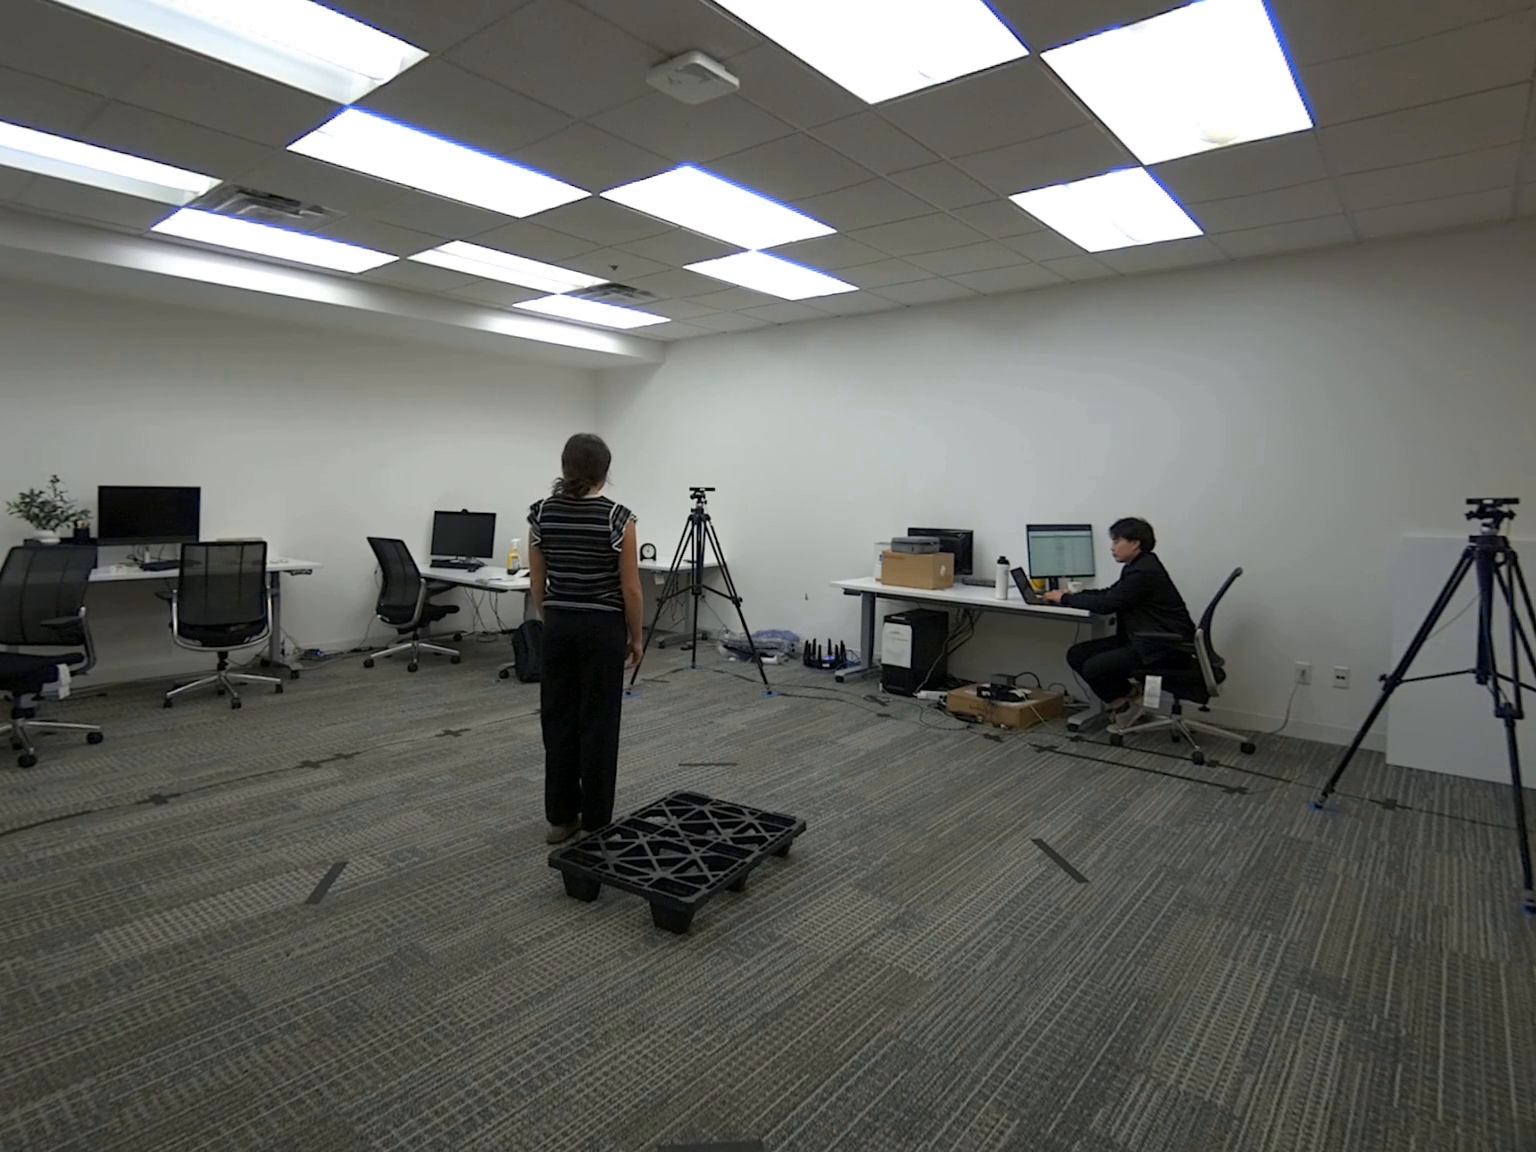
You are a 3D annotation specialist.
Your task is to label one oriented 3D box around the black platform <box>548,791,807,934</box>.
[{"bbox_3d":[-0.315,1.001,3.063,0.623,0.143,0.785,3,6,30],"label":"black platform"}]
